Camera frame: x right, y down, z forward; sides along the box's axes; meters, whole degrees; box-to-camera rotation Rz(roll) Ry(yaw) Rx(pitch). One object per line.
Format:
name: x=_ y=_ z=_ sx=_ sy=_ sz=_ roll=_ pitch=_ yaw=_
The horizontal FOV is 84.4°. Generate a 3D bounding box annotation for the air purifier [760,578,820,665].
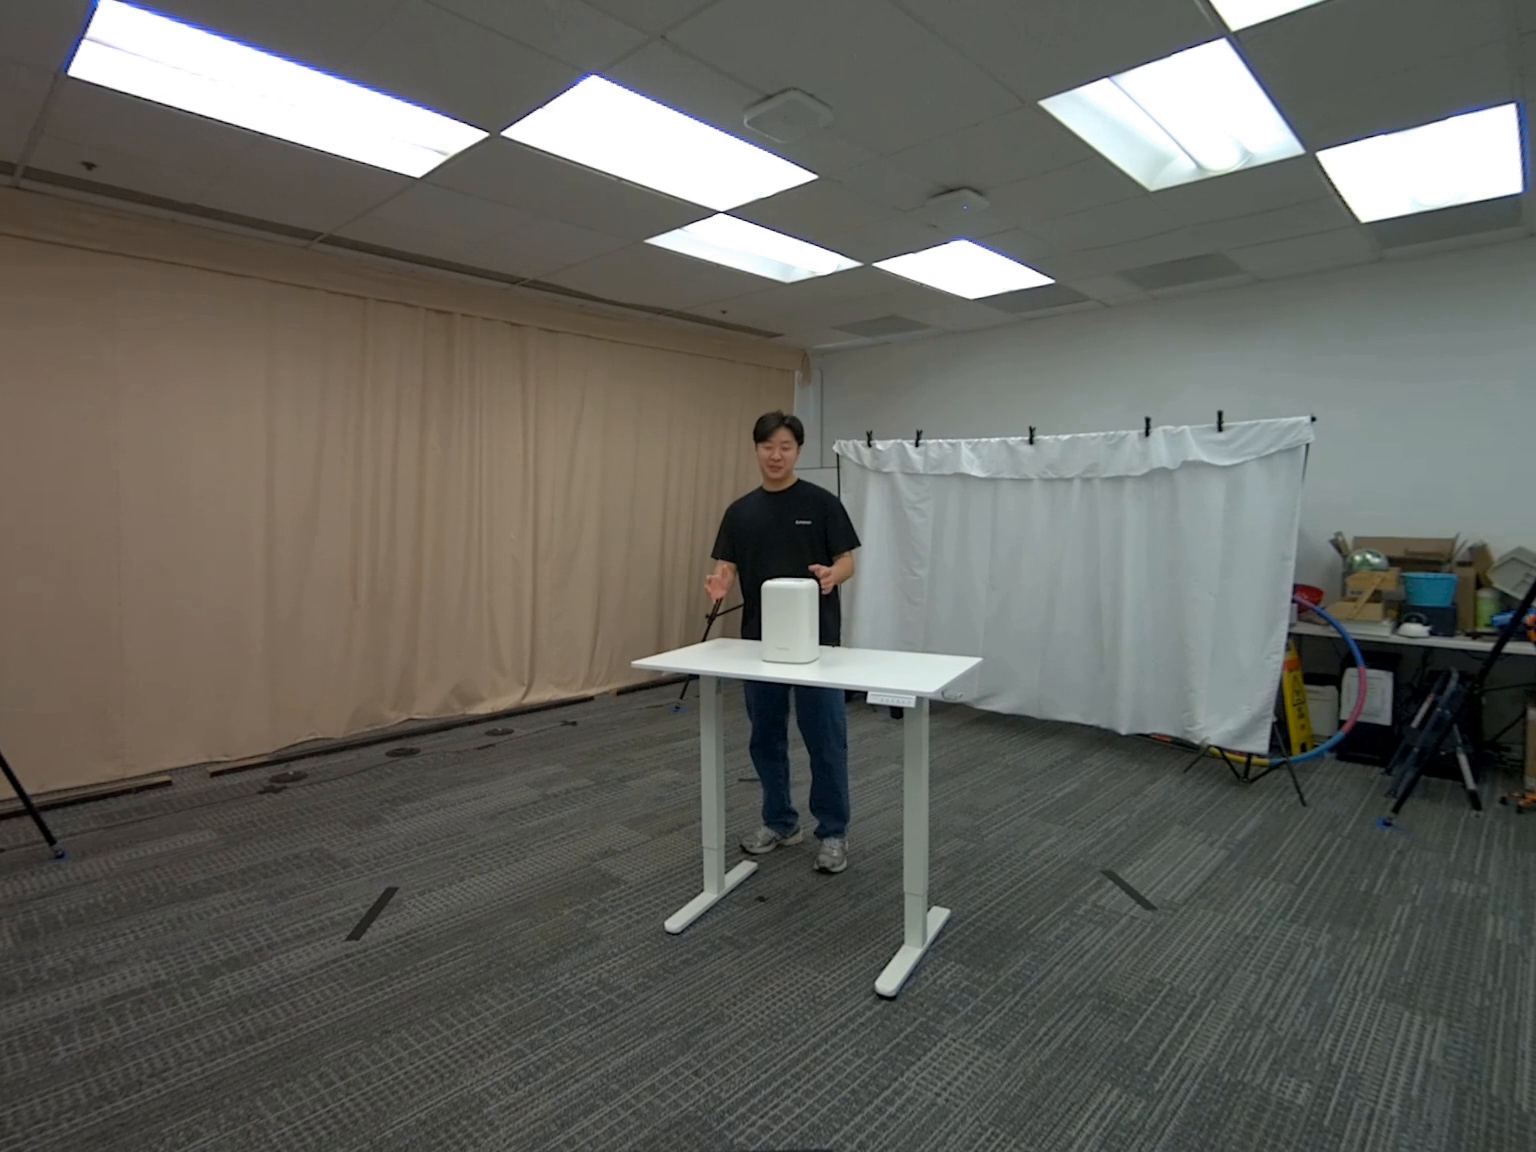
air purifier: x=0.068 y=0.143 z=2.790 sx=0.175 sy=0.265 sz=0.168 roll=1 pitch=2 yaw=21
